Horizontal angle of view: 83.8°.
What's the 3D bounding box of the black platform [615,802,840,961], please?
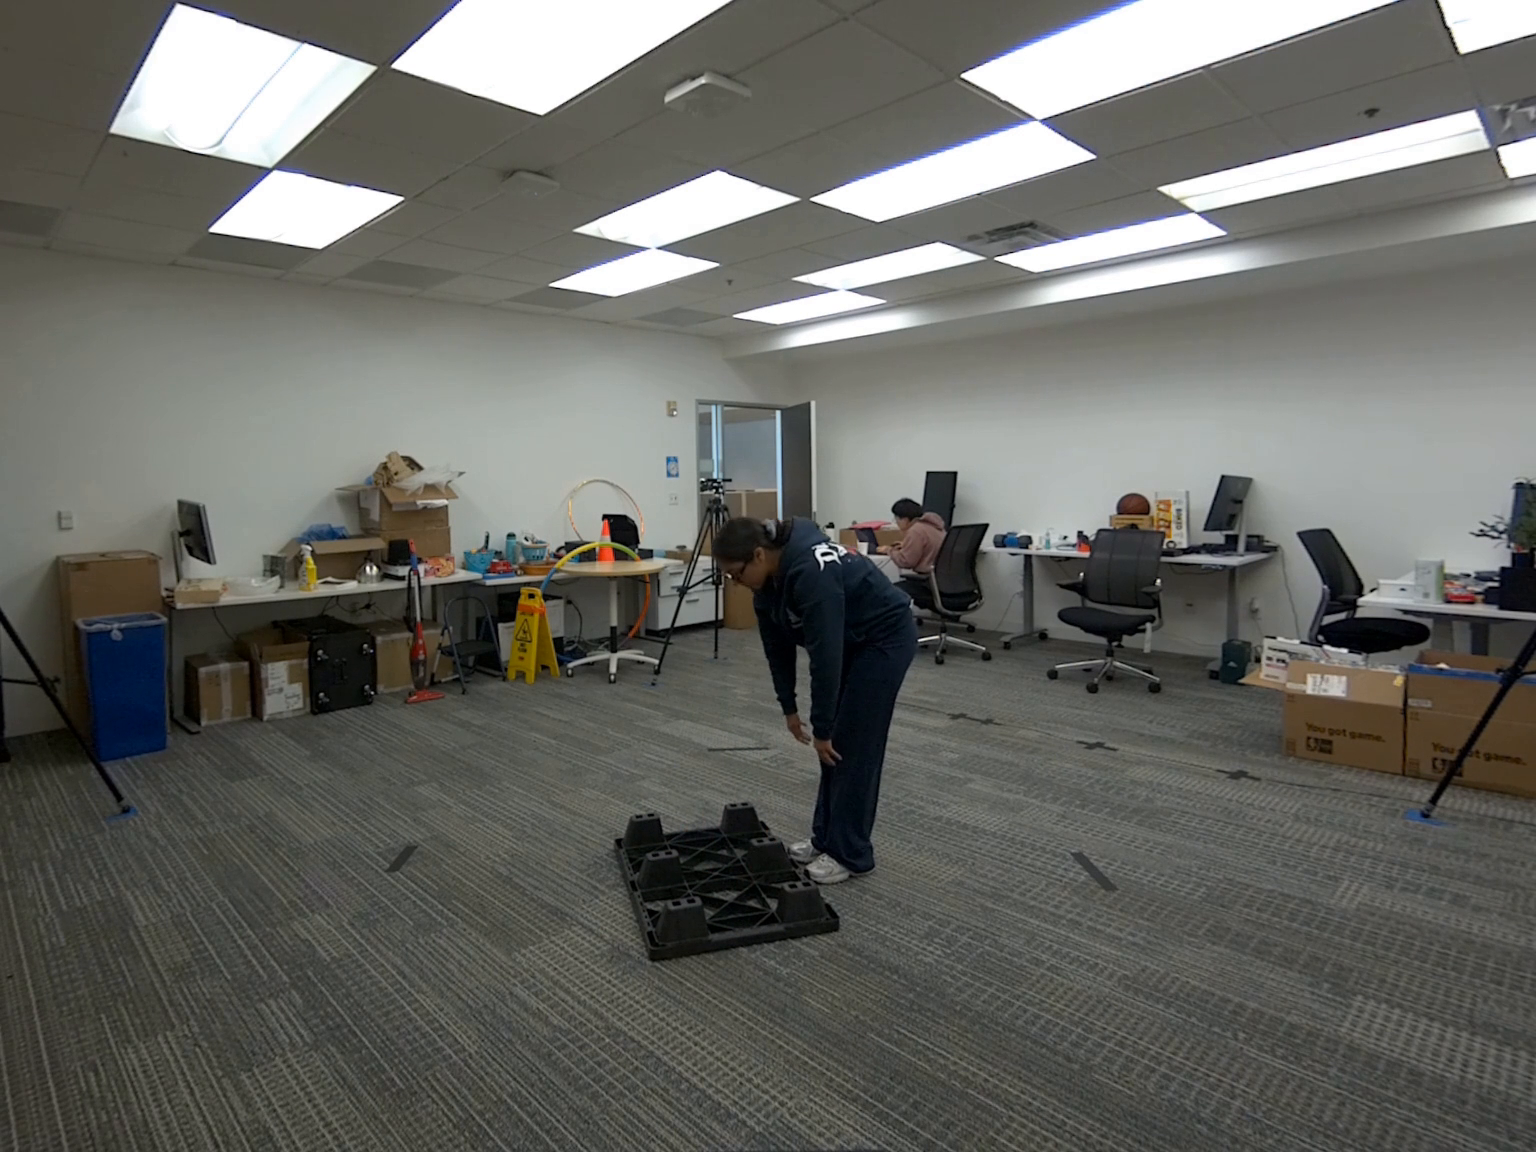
[{"bbox_3d":[-0.177,0.996,2.933,0.596,0.142,0.822,-3,7,-17],"label":"black platform"}]
